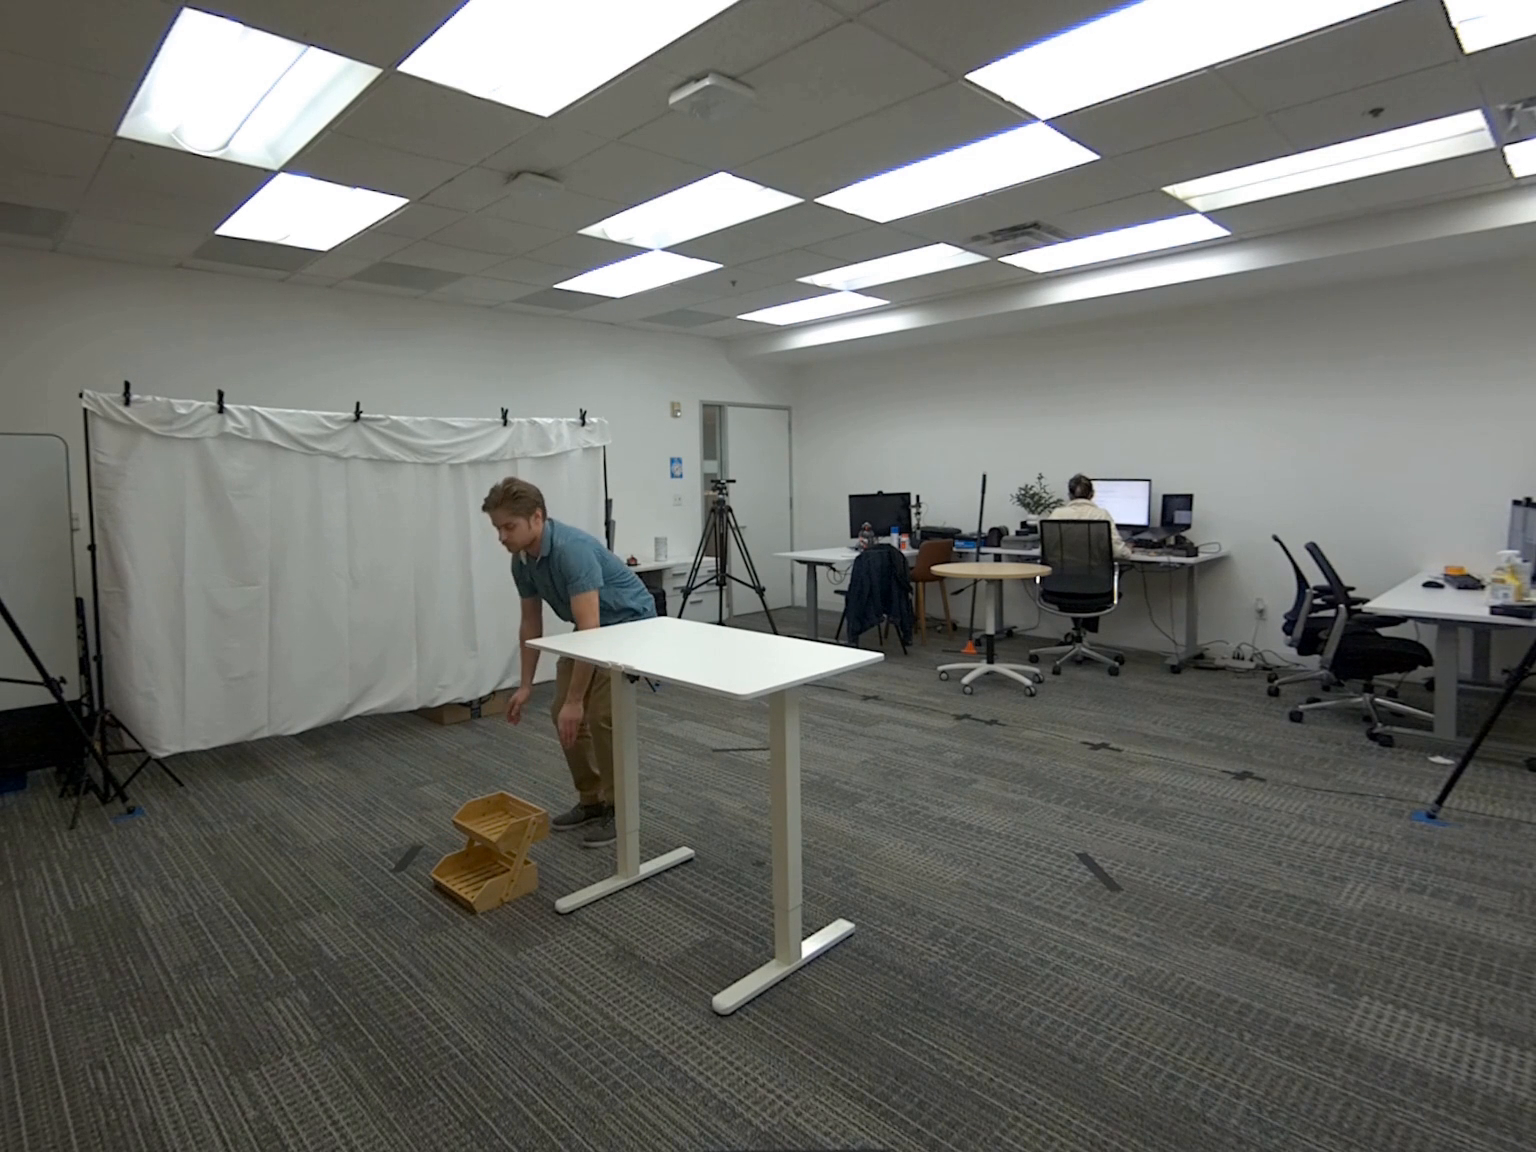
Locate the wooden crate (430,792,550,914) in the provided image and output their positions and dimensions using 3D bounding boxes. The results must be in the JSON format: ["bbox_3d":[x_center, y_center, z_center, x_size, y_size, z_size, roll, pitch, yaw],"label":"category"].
[{"bbox_3d":[-0.972,0.948,2.980,0.334,0.272,0.294,4,6,42],"label":"wooden crate"}]
